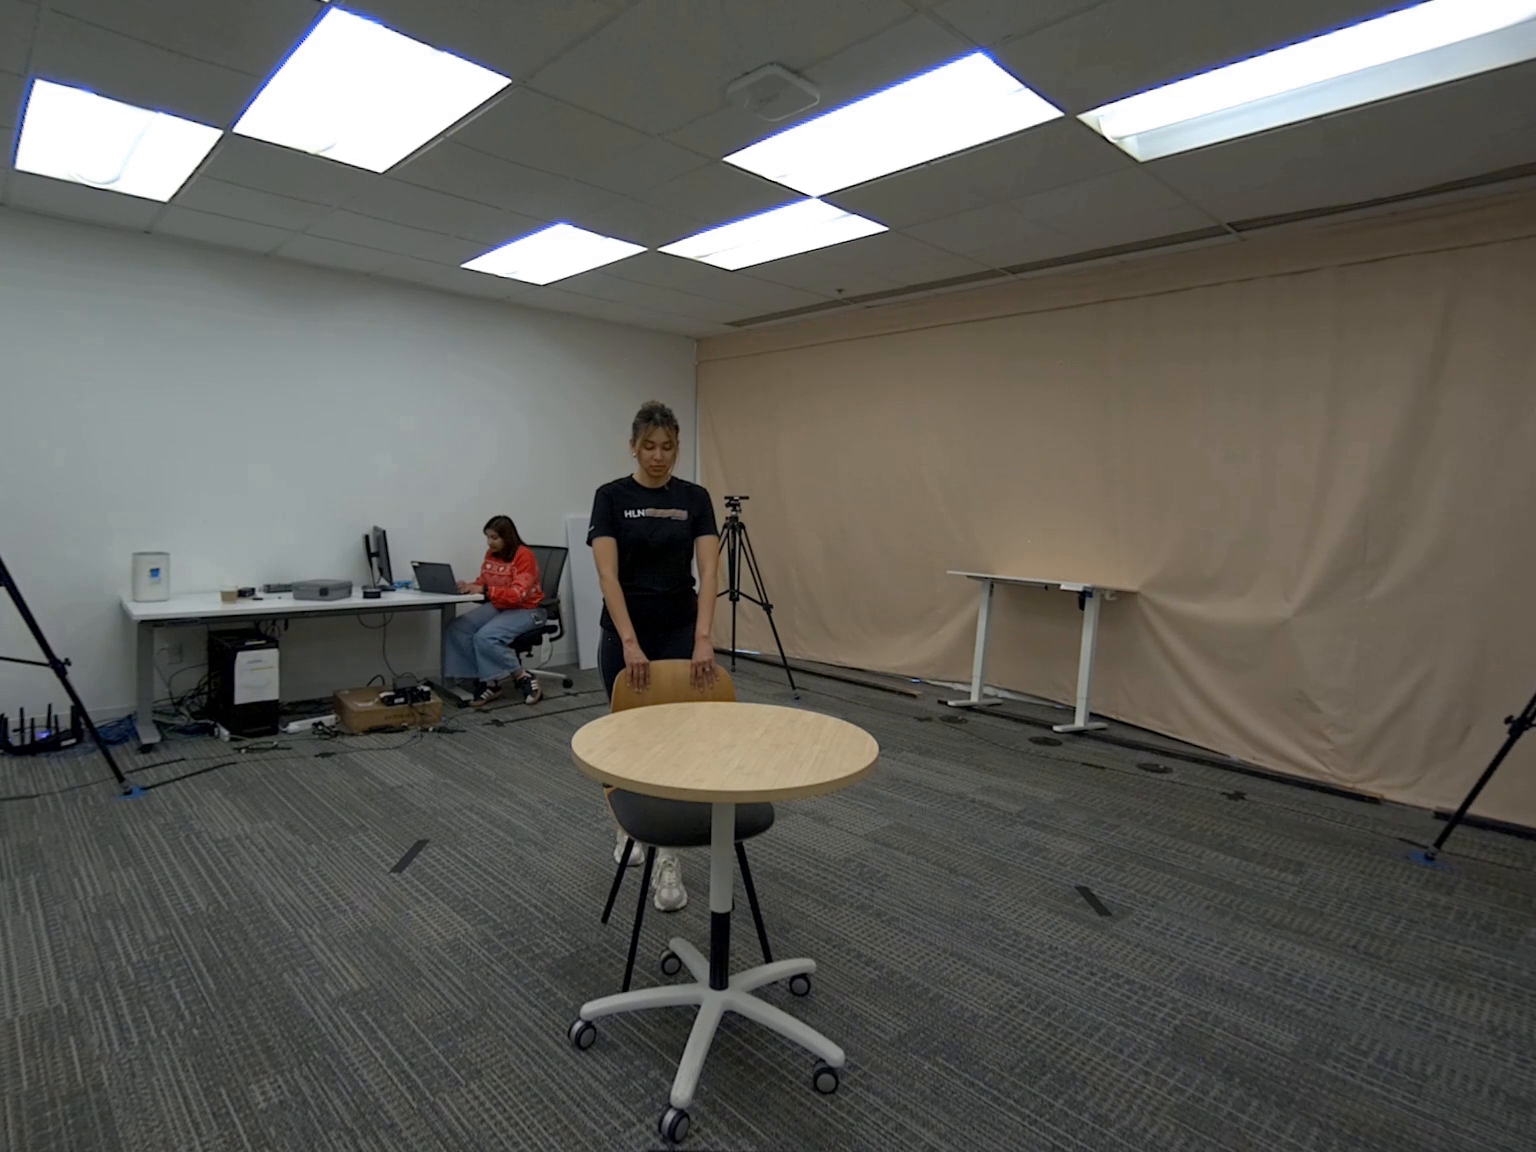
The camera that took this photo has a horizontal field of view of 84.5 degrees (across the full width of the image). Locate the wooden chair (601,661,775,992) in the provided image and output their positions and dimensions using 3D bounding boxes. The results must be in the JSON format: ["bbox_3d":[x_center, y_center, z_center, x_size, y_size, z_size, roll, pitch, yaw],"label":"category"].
[{"bbox_3d":[-0.249,0.724,2.546,0.472,0.878,0.529,1,-1,-17],"label":"wooden chair"}]
